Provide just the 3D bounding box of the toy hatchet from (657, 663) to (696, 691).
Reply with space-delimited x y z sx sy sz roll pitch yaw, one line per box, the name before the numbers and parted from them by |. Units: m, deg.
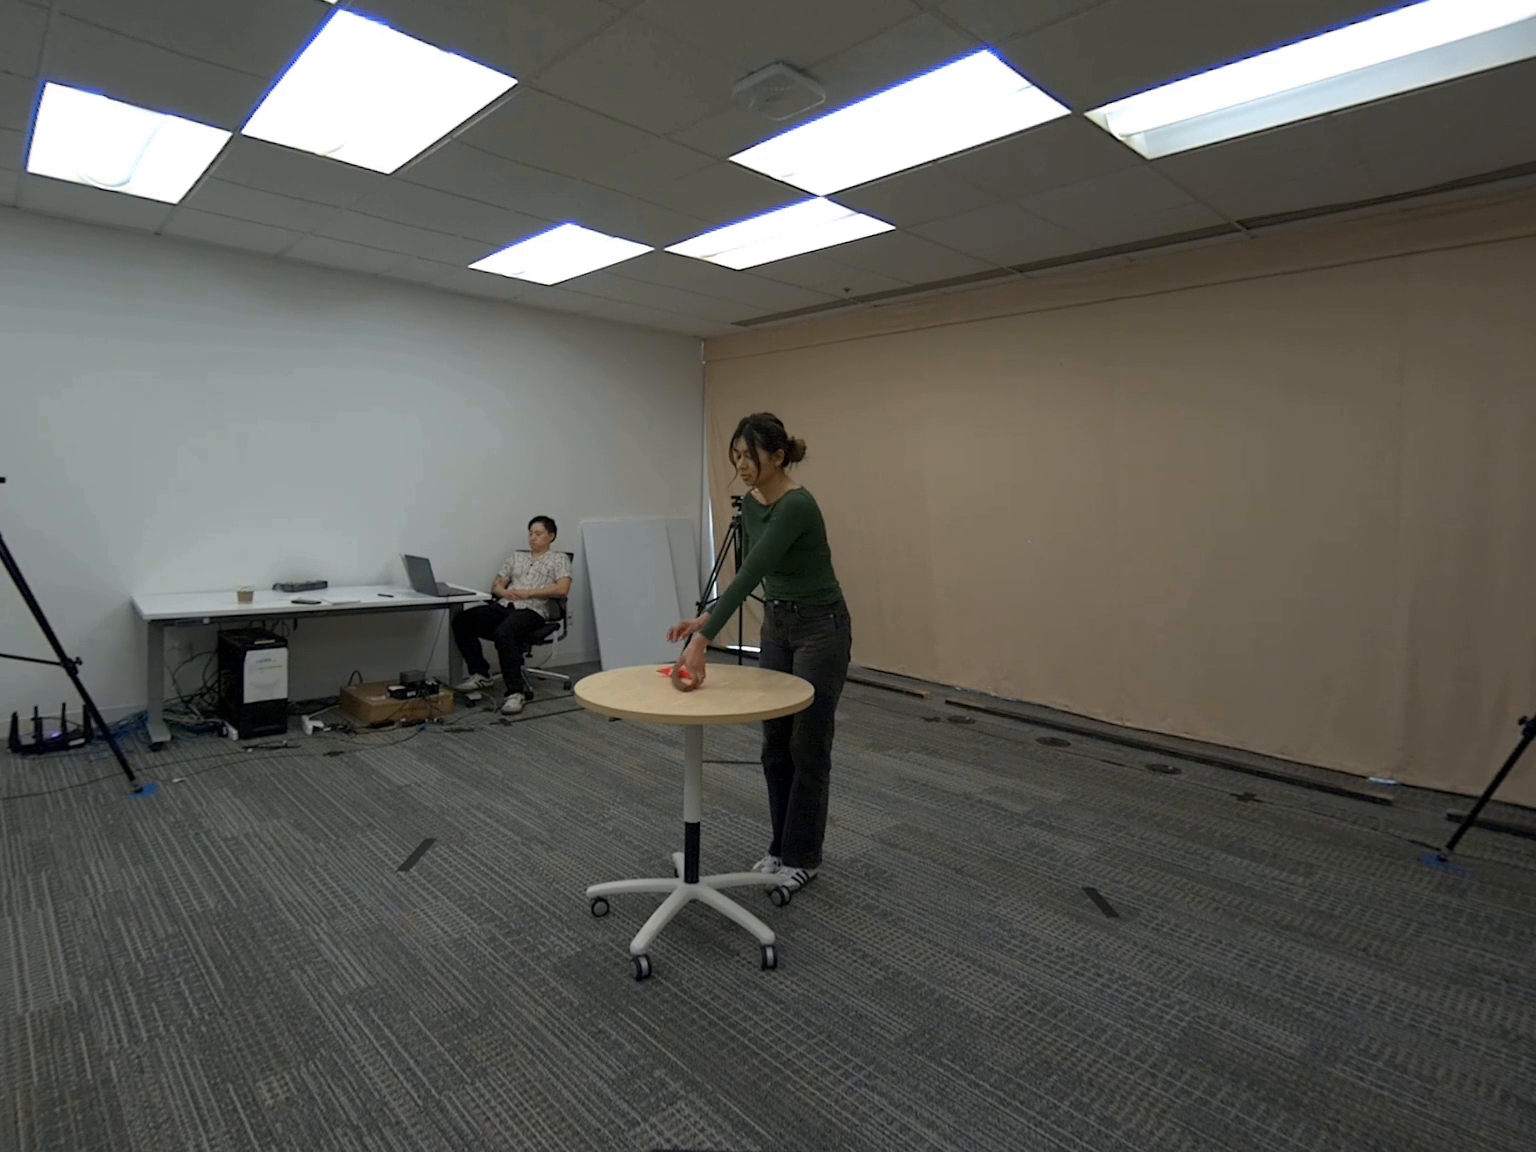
toy hatchet | -0.281 0.337 2.744 0.129 0.029 0.275 1 7 -23
